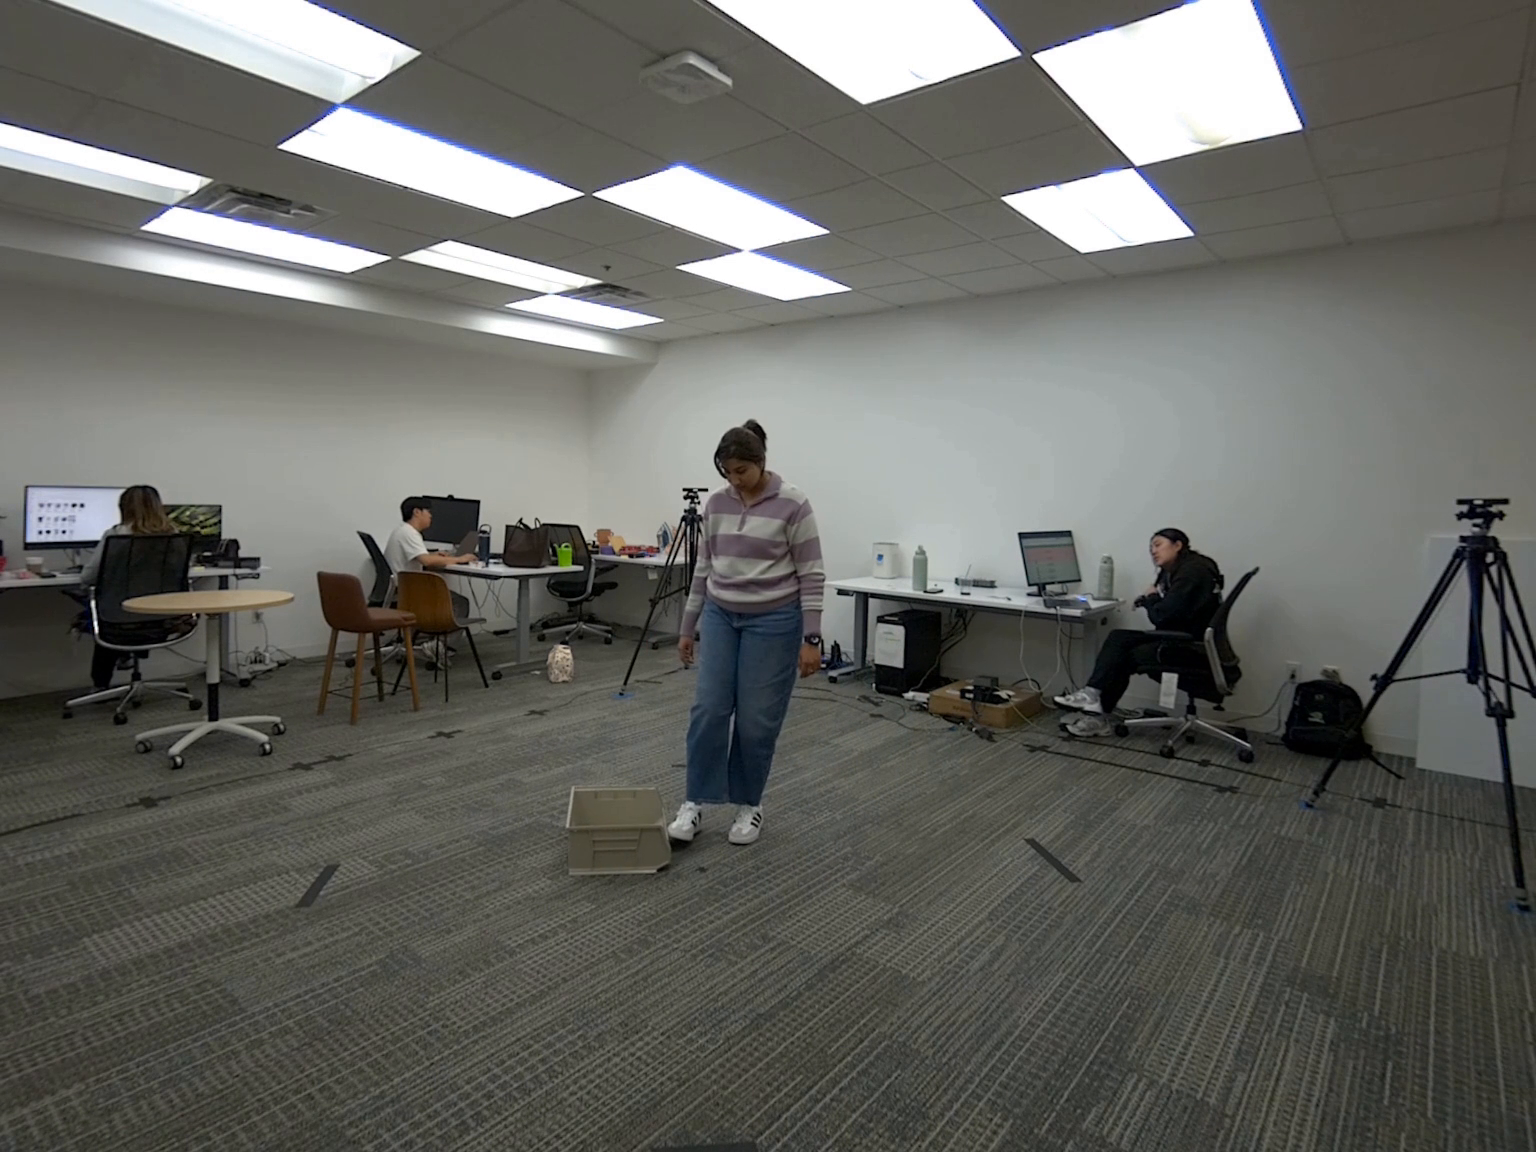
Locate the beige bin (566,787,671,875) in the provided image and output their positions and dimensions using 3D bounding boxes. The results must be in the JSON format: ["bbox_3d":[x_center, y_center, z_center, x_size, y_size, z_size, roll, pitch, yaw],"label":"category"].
[{"bbox_3d":[-0.593,0.963,3.252,0.374,0.188,0.428,0,6,-9],"label":"beige bin"}]
